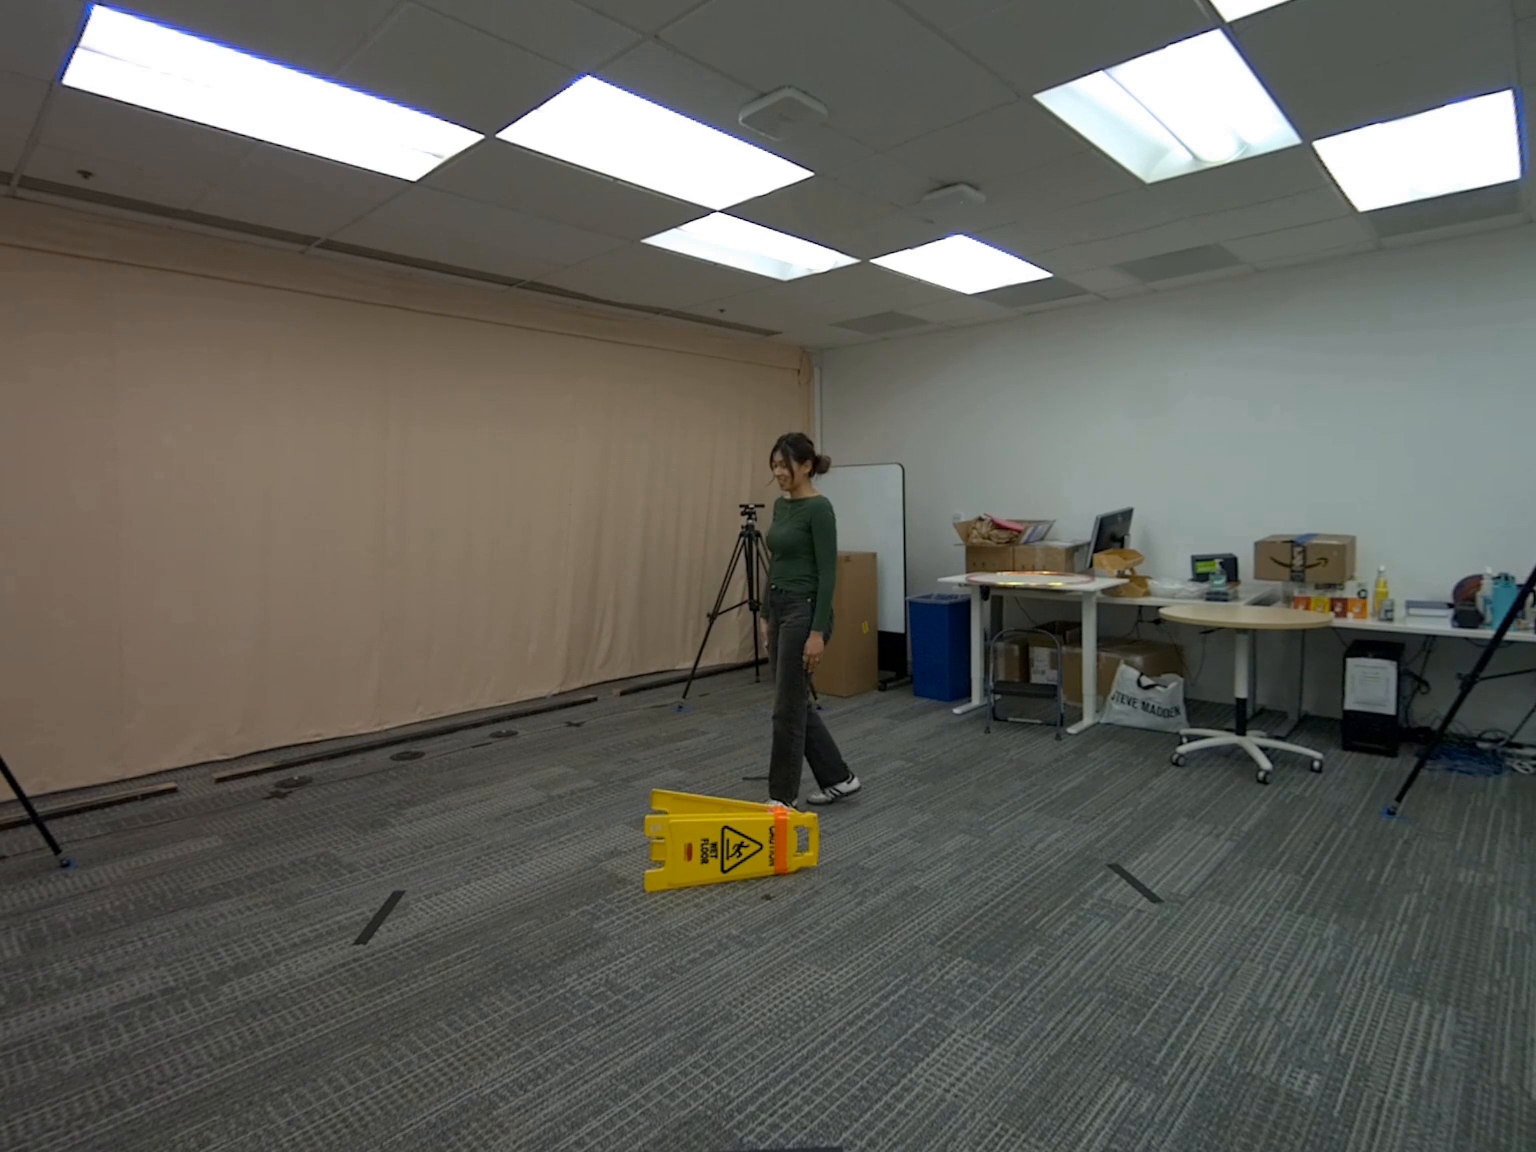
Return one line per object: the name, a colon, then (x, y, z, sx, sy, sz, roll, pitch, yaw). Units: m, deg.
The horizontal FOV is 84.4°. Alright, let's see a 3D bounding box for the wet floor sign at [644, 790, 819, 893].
wet floor sign: (-0.128, 0.991, 3.183, 0.646, 0.282, 0.290, 1, 3, -1)
